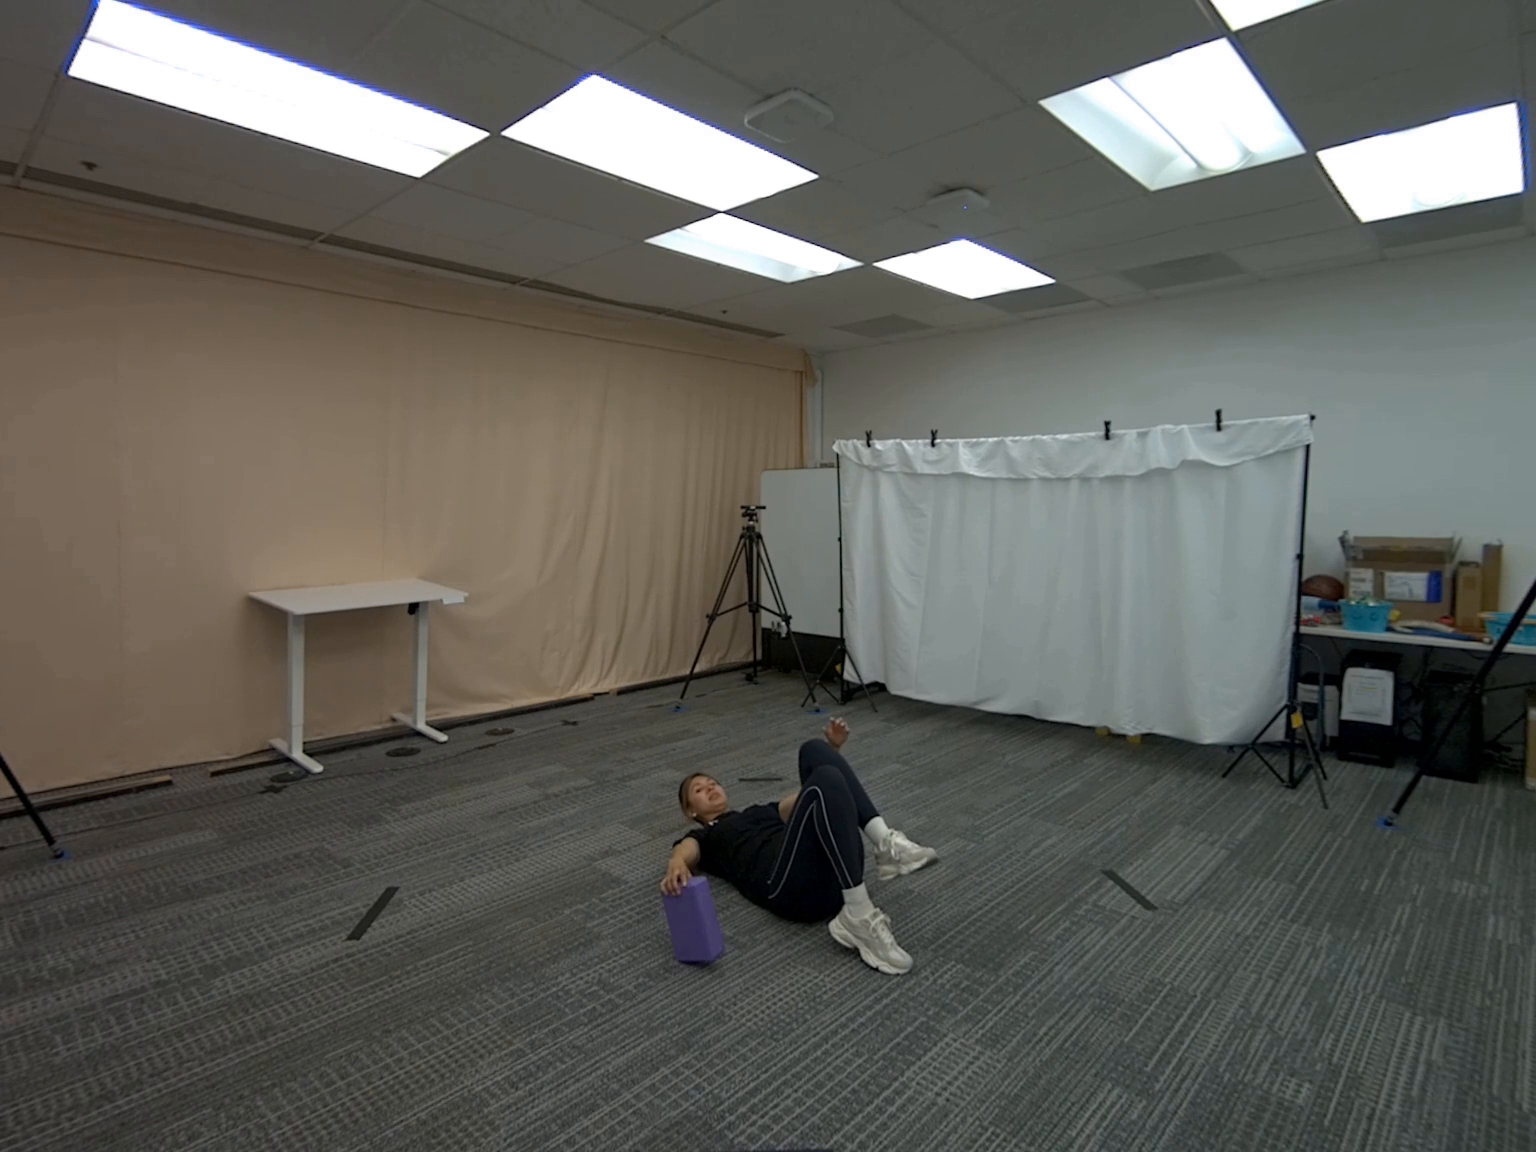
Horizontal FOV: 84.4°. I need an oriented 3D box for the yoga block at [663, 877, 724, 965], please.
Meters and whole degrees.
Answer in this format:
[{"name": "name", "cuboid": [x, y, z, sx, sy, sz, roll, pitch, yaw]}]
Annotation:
[{"name": "yoga block", "cuboid": [-0.225, 1.046, 2.579, 0.152, 0.230, 0.074, -18, -6, 35]}]
